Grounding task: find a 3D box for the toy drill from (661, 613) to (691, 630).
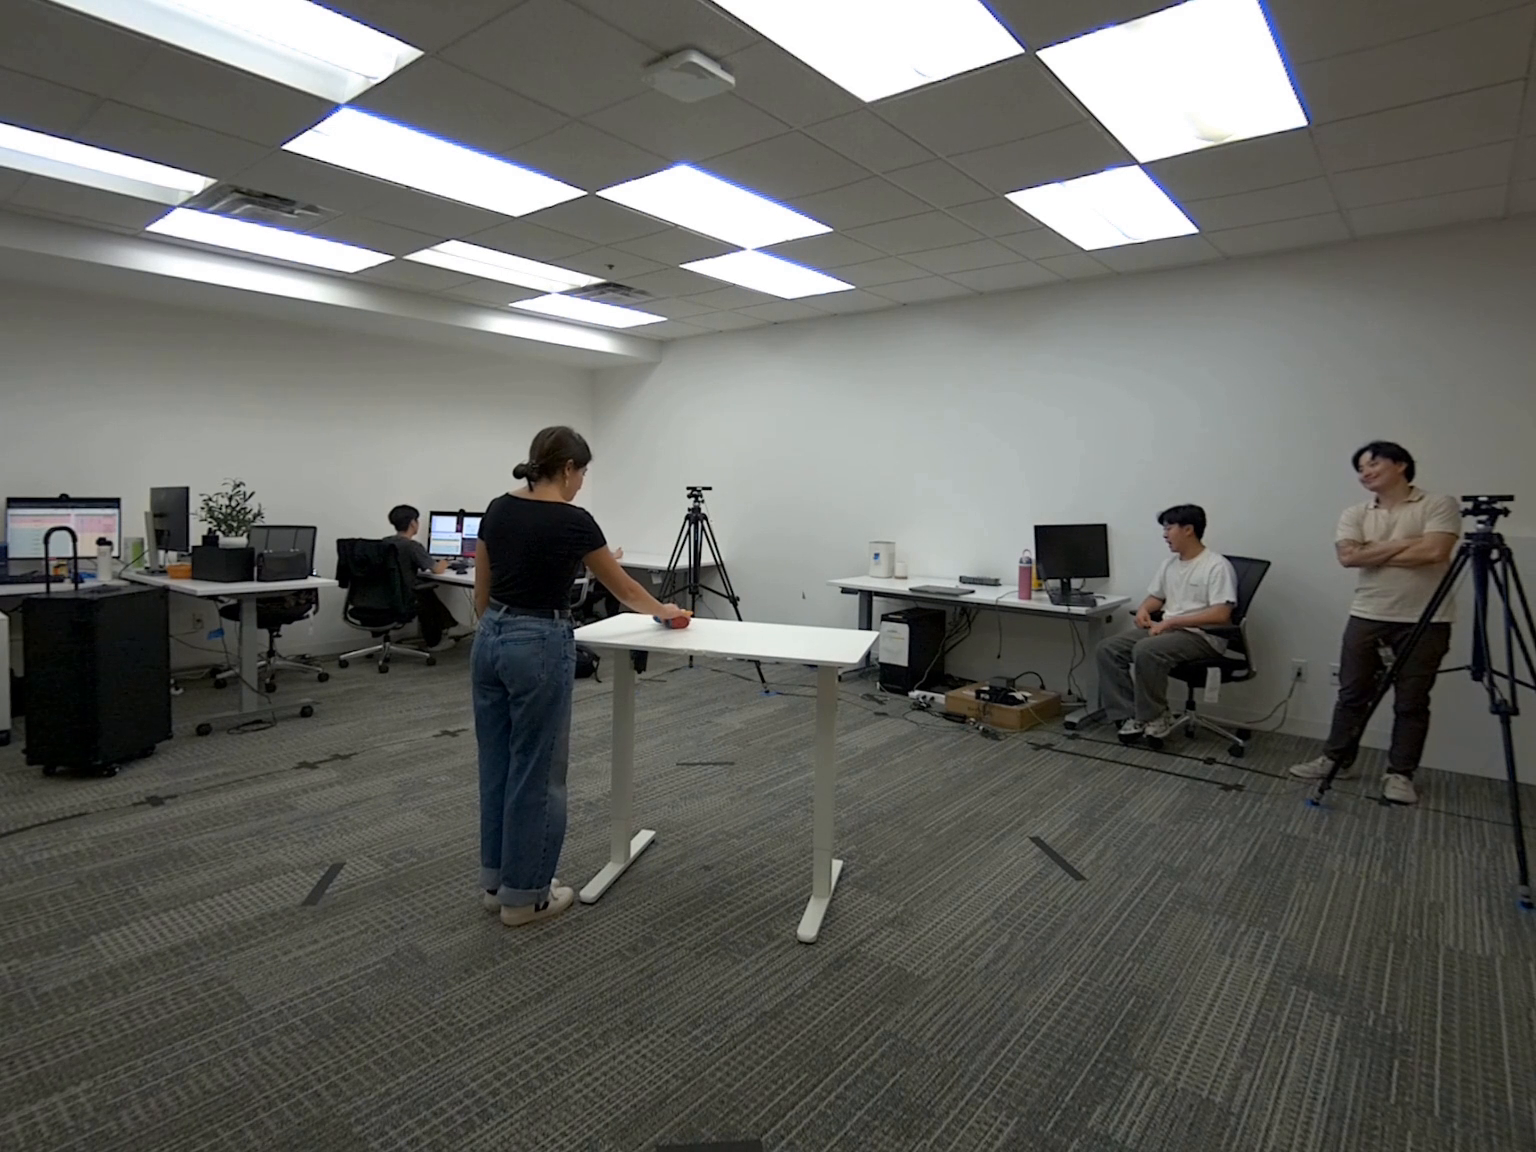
[{"bbox_3d":[-0.333,0.153,3.103,0.165,0.061,0.151,-2,8,-34],"label":"toy drill"}]
